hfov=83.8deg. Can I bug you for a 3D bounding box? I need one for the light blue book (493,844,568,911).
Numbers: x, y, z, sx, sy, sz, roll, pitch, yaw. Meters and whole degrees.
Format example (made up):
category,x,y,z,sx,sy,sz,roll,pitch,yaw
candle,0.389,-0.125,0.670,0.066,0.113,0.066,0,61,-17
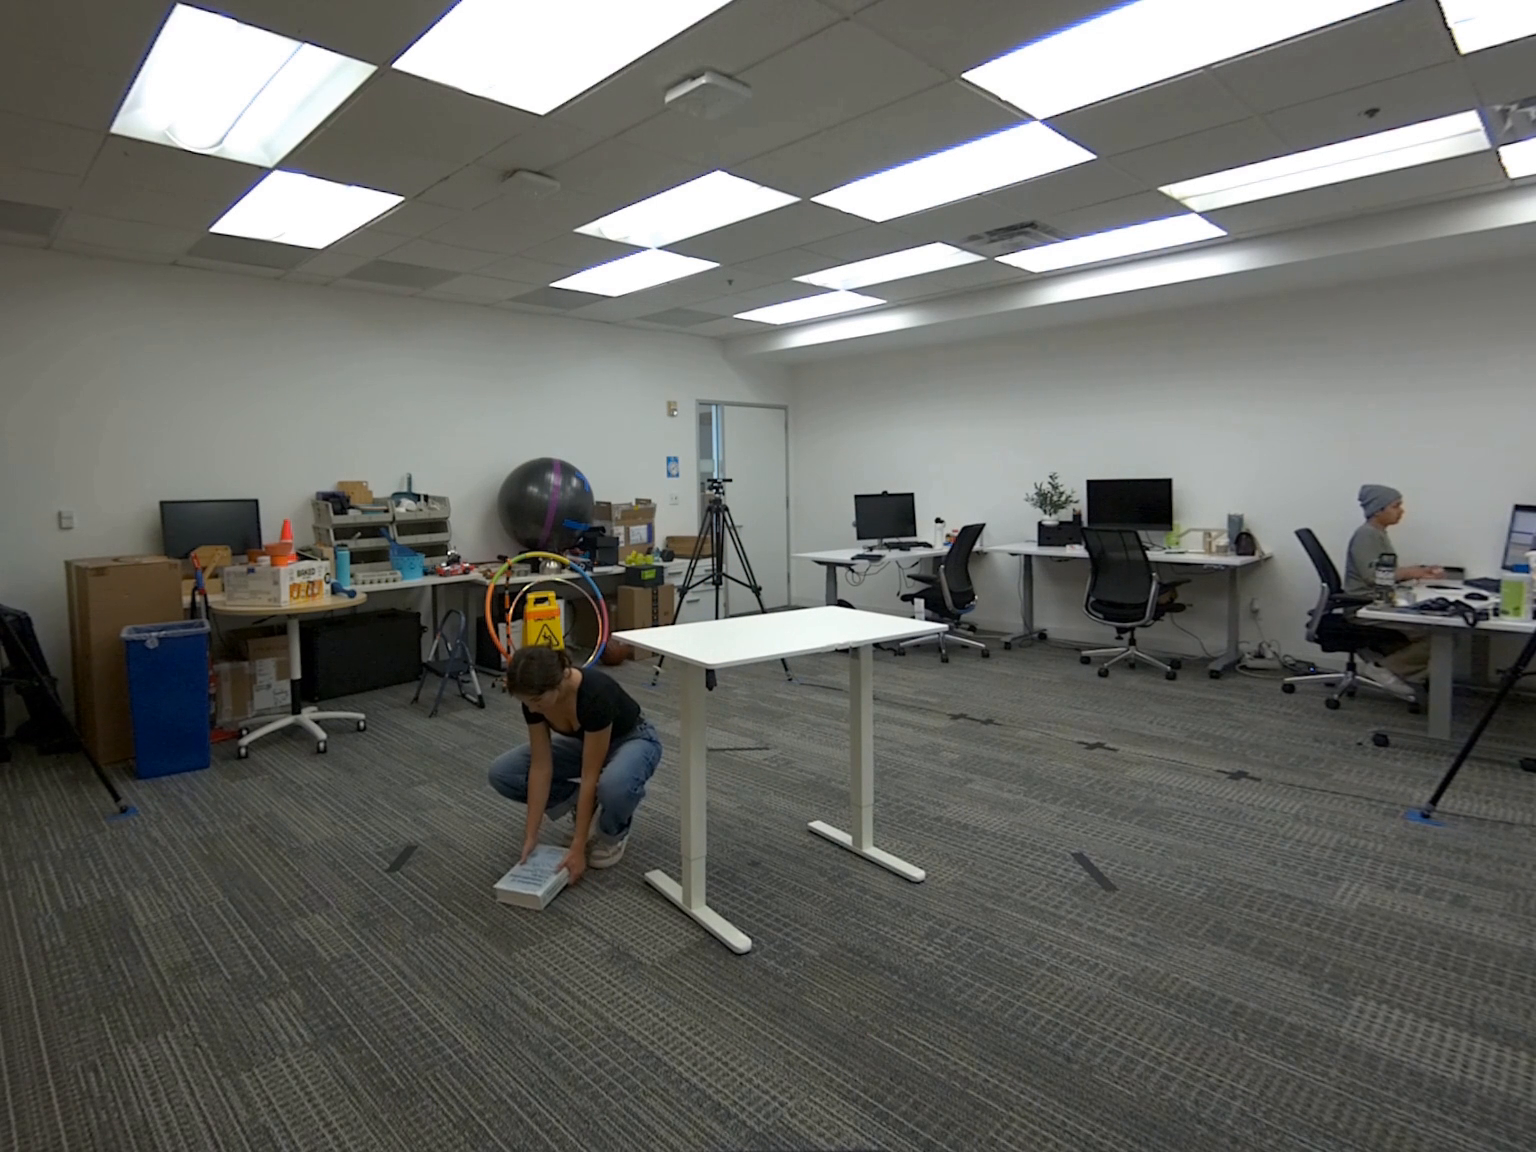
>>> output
category,x,y,z,sx,sy,sz,roll,pitch,yaw
light blue book,-0.799,1.037,2.935,0.195,0.058,0.259,0,15,21
